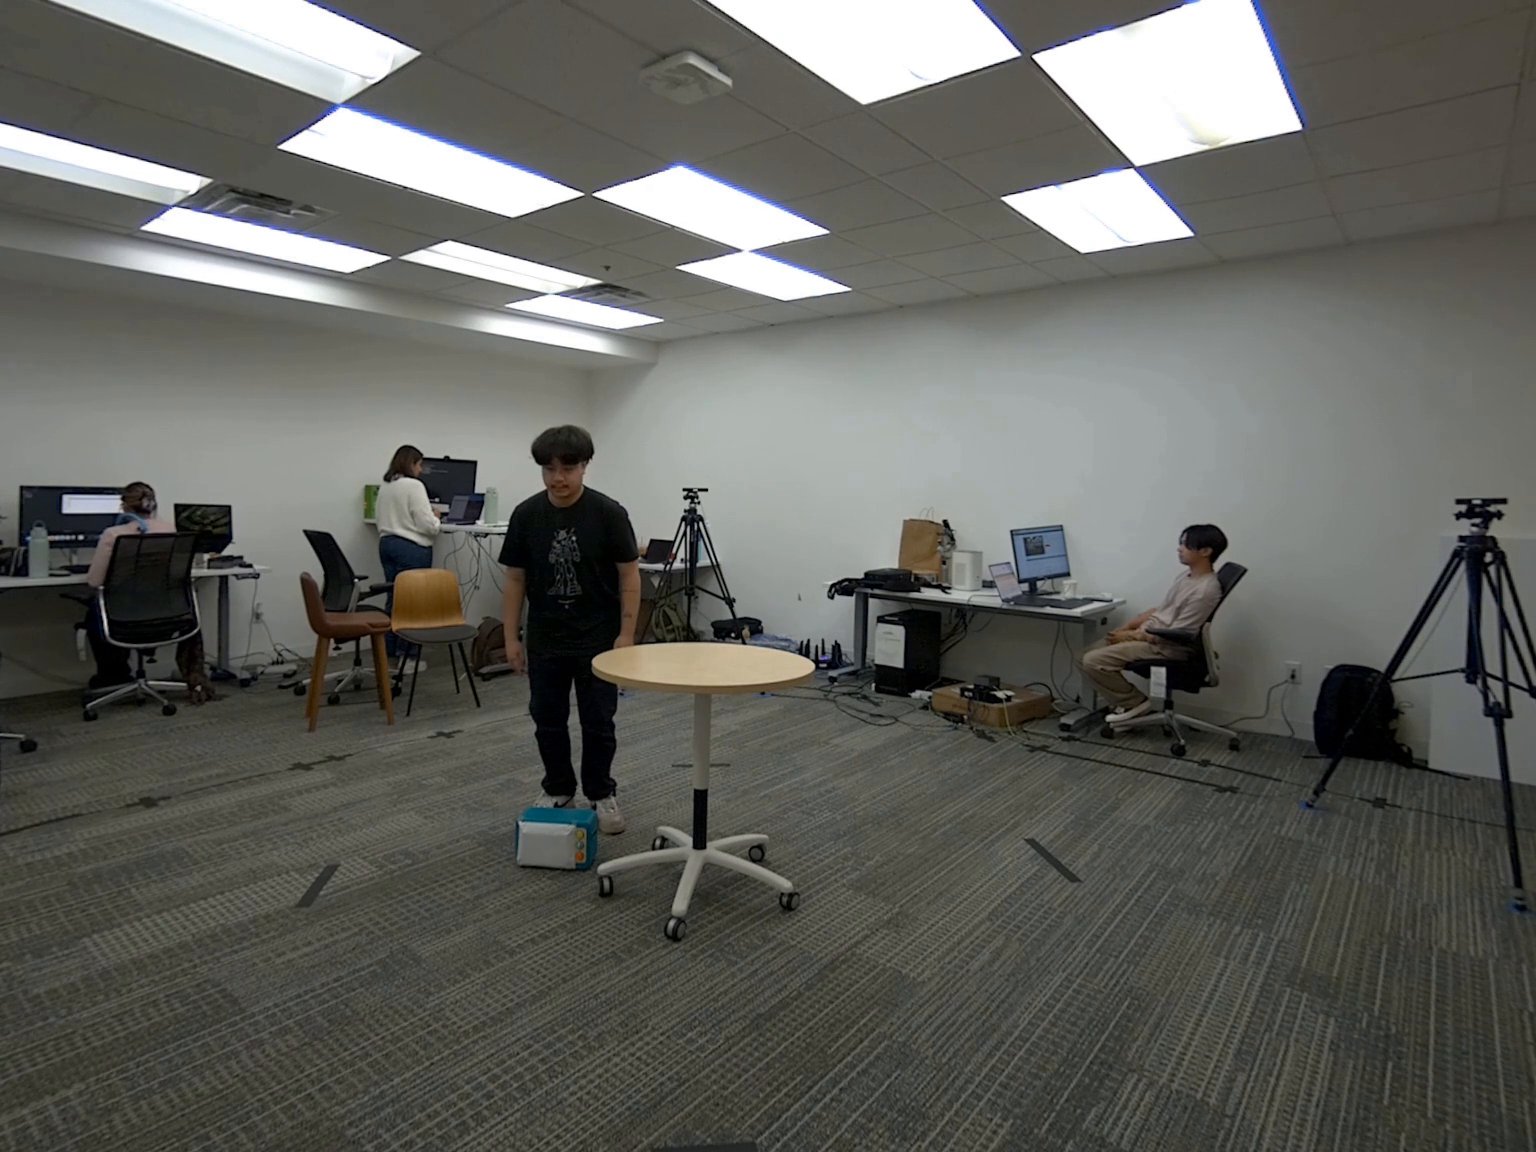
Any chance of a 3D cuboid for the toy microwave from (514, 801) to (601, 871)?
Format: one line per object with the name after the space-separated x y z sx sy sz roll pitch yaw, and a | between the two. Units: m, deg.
-0.780 0.962 3.124 0.288 0.184 0.152 1 2 5 | toy microwave
